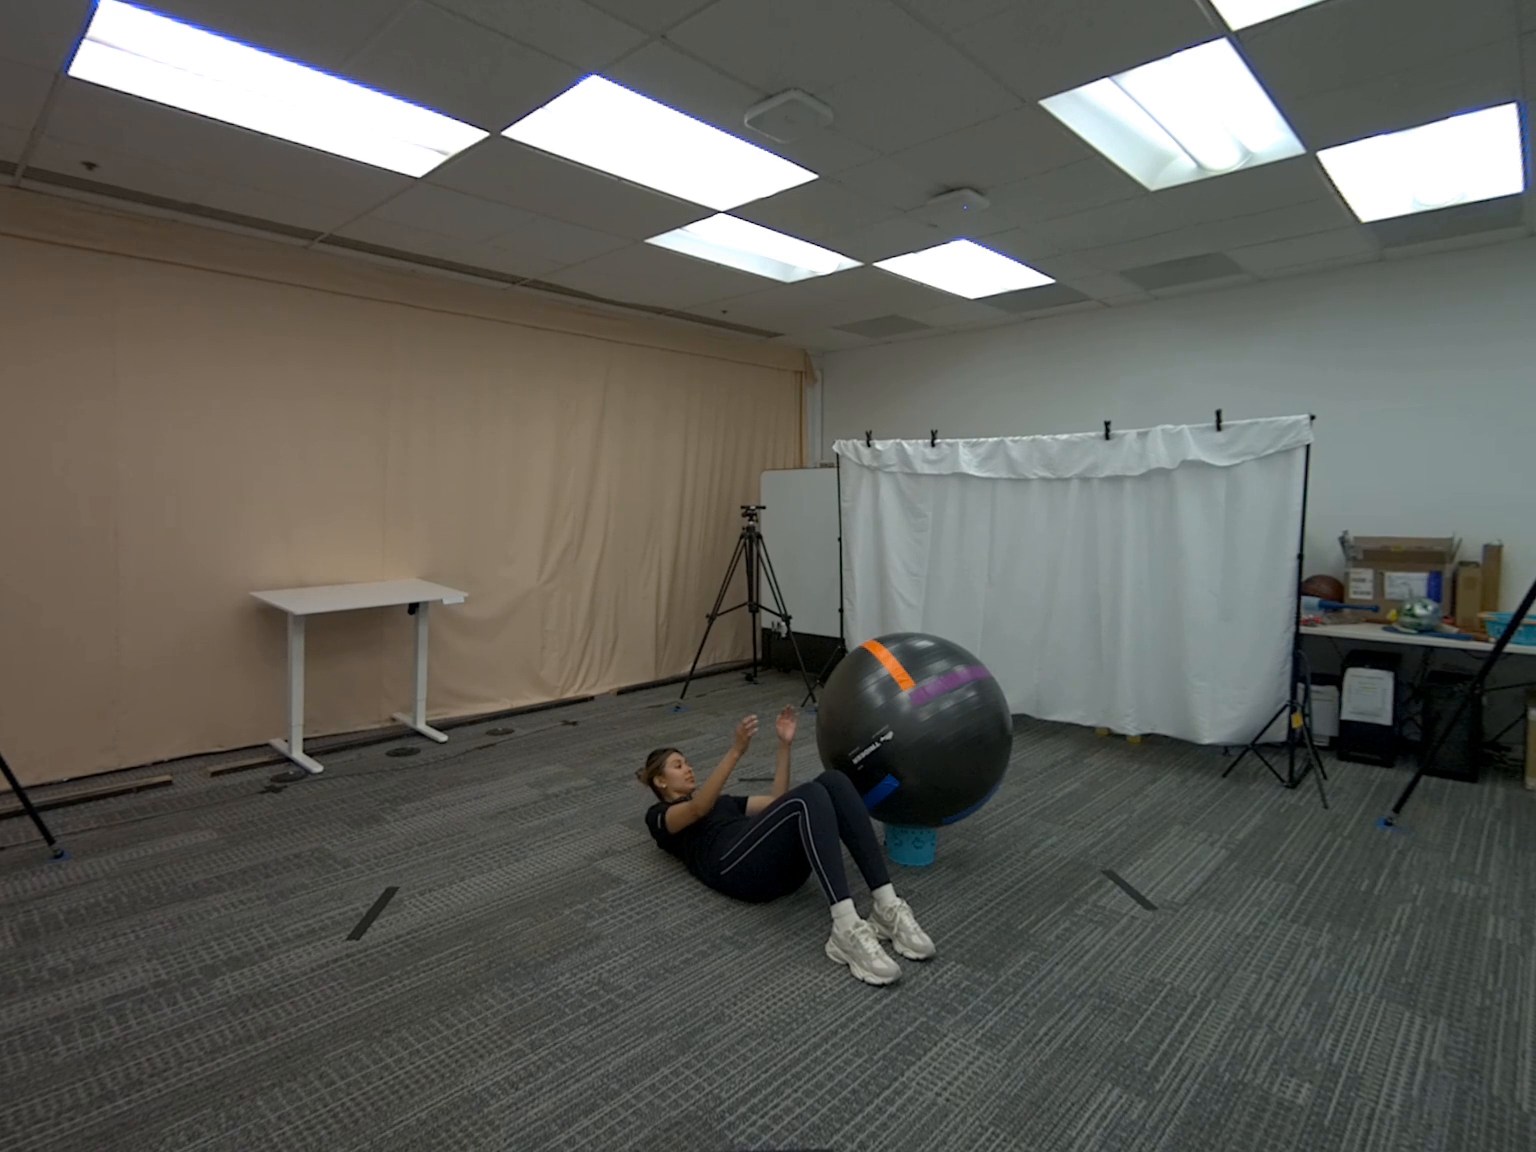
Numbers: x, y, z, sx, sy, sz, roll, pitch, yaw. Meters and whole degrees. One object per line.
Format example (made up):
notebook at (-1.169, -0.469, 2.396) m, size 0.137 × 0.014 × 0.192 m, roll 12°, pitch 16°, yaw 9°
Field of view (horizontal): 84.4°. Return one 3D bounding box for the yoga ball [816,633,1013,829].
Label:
yoga ball at (0.571, 0.606, 3.330) m, size 0.757 × 0.756 × 0.761 m, roll 3°, pitch 5°, yaw -2°
